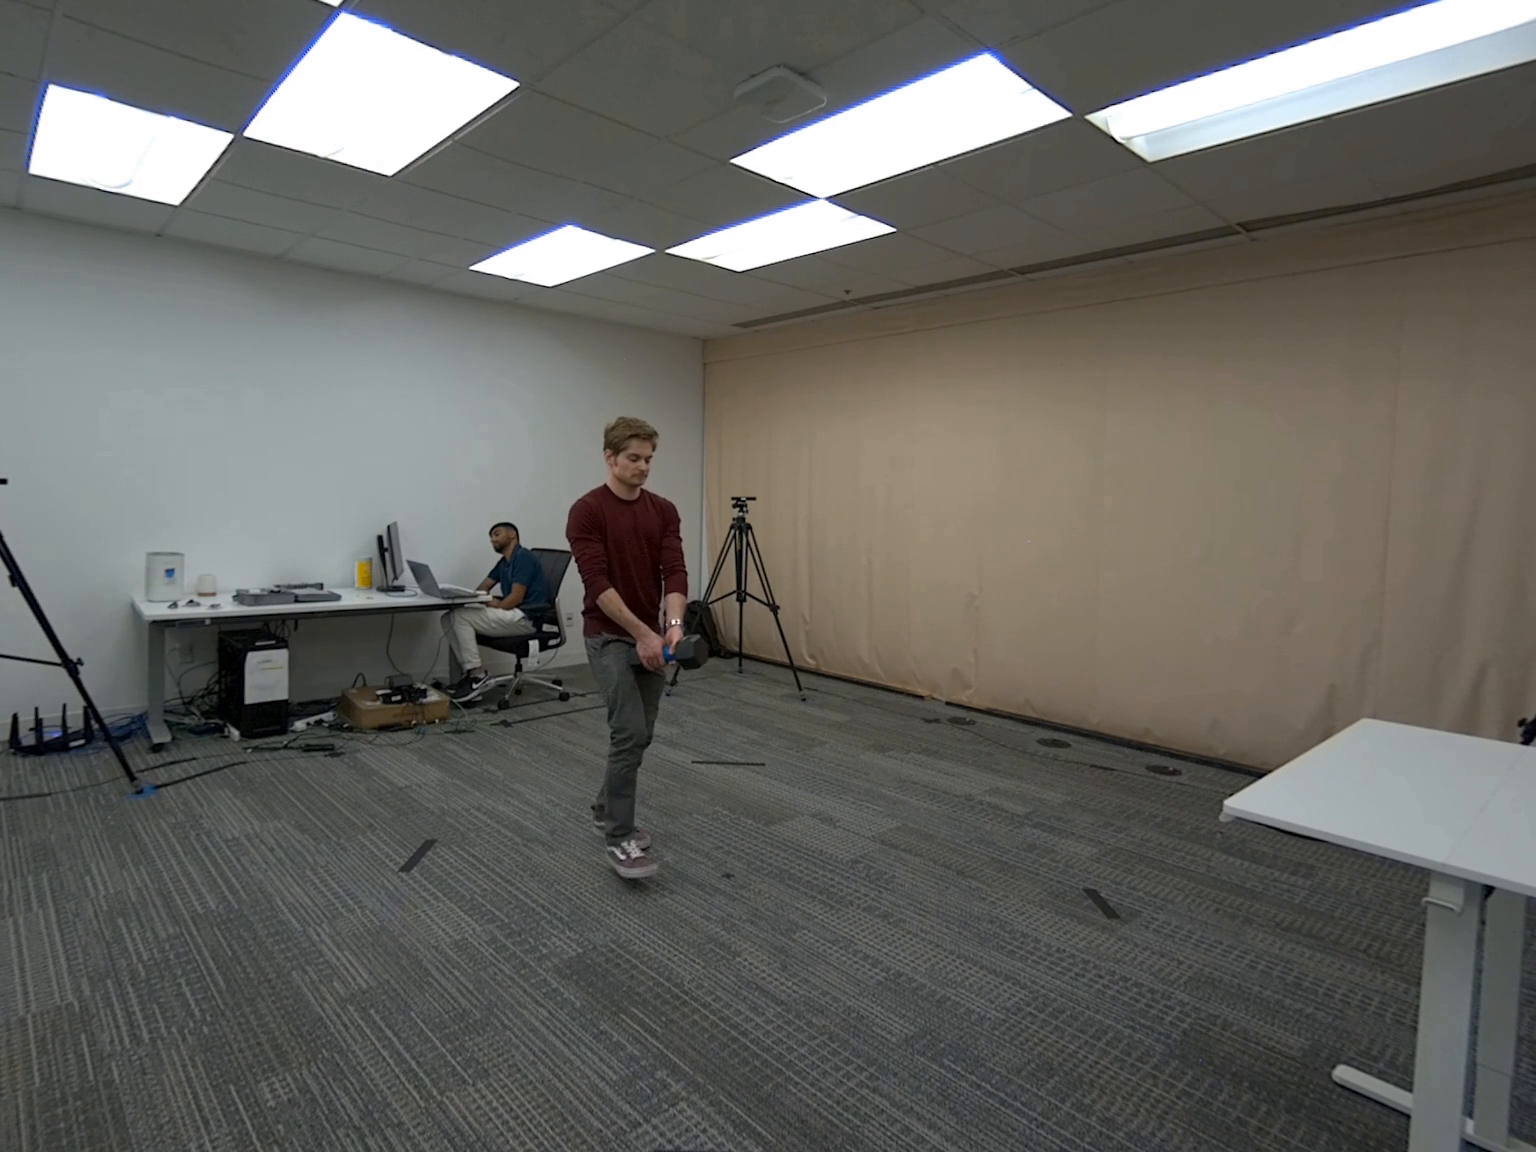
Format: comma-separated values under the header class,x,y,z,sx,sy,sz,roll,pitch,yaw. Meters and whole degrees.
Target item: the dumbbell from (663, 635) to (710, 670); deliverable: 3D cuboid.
class,x,y,z,sx,sy,sz,roll,pitch,yaw
dumbbell,-0.373,0.291,3.024,0.298,0.110,0.119,-10,-48,31
